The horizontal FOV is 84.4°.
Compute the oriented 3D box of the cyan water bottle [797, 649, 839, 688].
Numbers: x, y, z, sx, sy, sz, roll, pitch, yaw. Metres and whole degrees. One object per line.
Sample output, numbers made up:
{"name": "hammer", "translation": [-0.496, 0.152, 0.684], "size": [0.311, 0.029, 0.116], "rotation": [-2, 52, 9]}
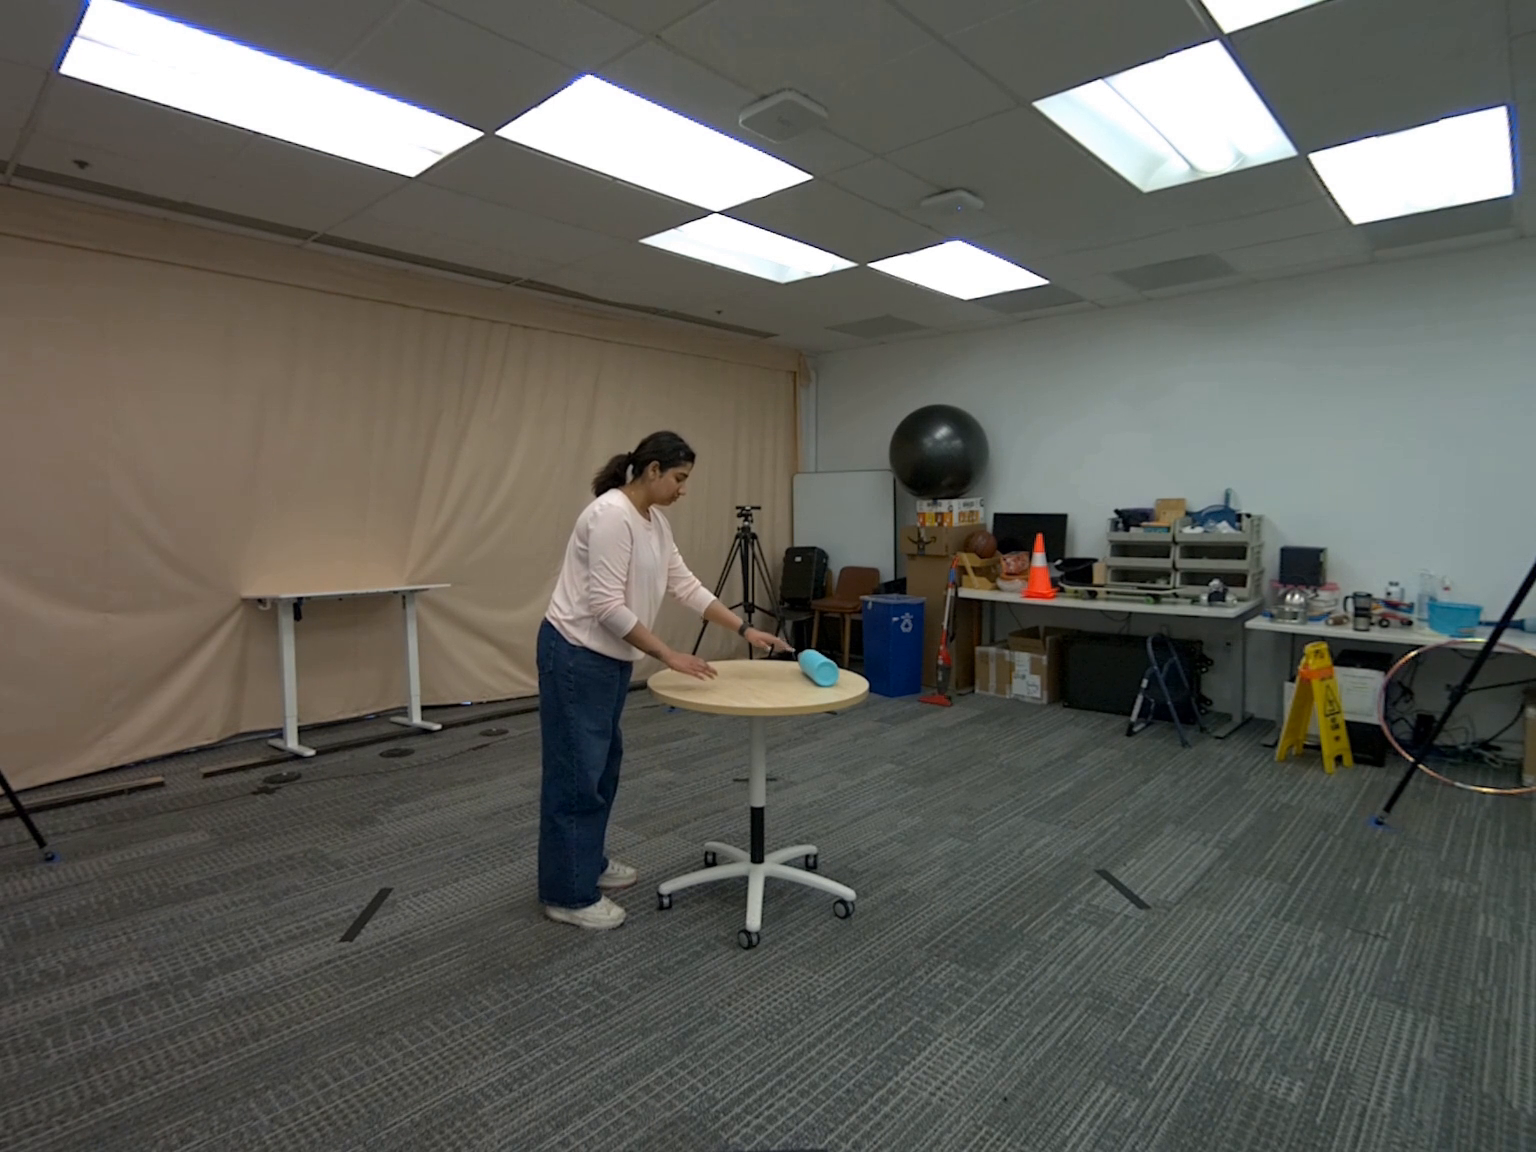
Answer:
{"name": "cyan water bottle", "translation": [0.174, 0.320, 2.961], "size": [0.091, 0.092, 0.286], "rotation": [-1, 5, -8]}
